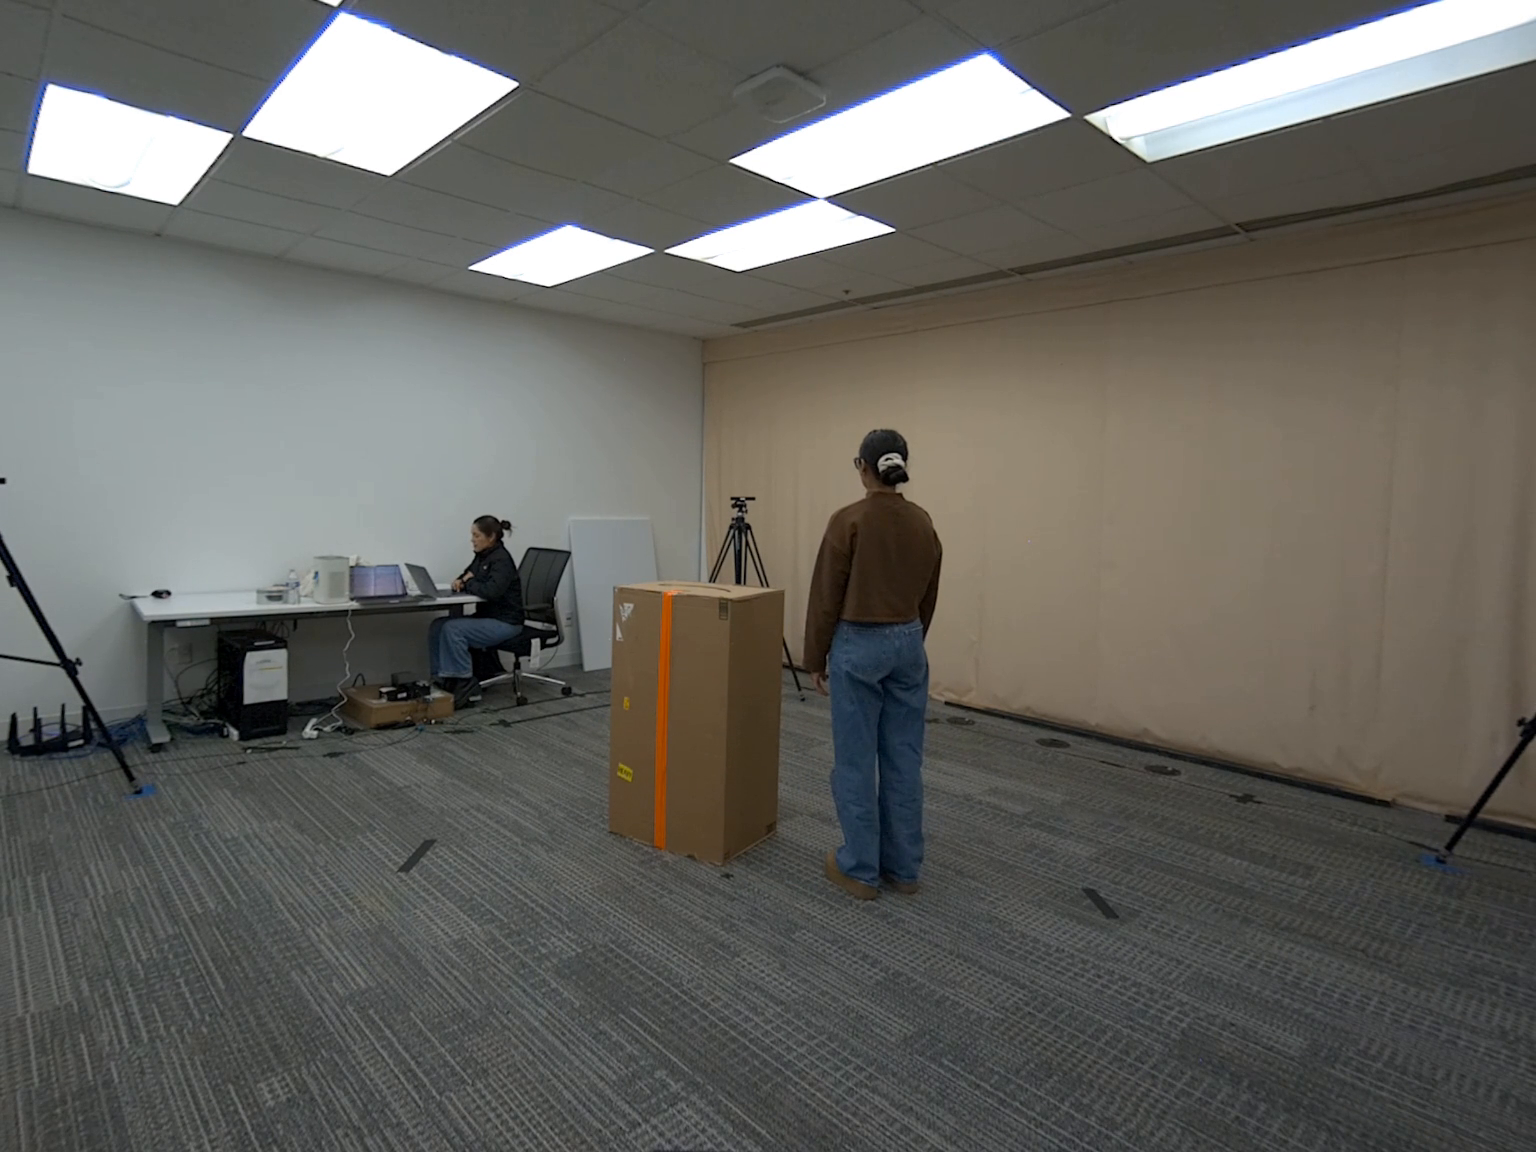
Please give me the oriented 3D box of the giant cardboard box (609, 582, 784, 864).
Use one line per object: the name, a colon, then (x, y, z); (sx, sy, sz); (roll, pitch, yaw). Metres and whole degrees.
giant cardboard box: (-0.302, 0.559, 3.487); (0.591, 1.023, 0.417); (4, 4, 33)
